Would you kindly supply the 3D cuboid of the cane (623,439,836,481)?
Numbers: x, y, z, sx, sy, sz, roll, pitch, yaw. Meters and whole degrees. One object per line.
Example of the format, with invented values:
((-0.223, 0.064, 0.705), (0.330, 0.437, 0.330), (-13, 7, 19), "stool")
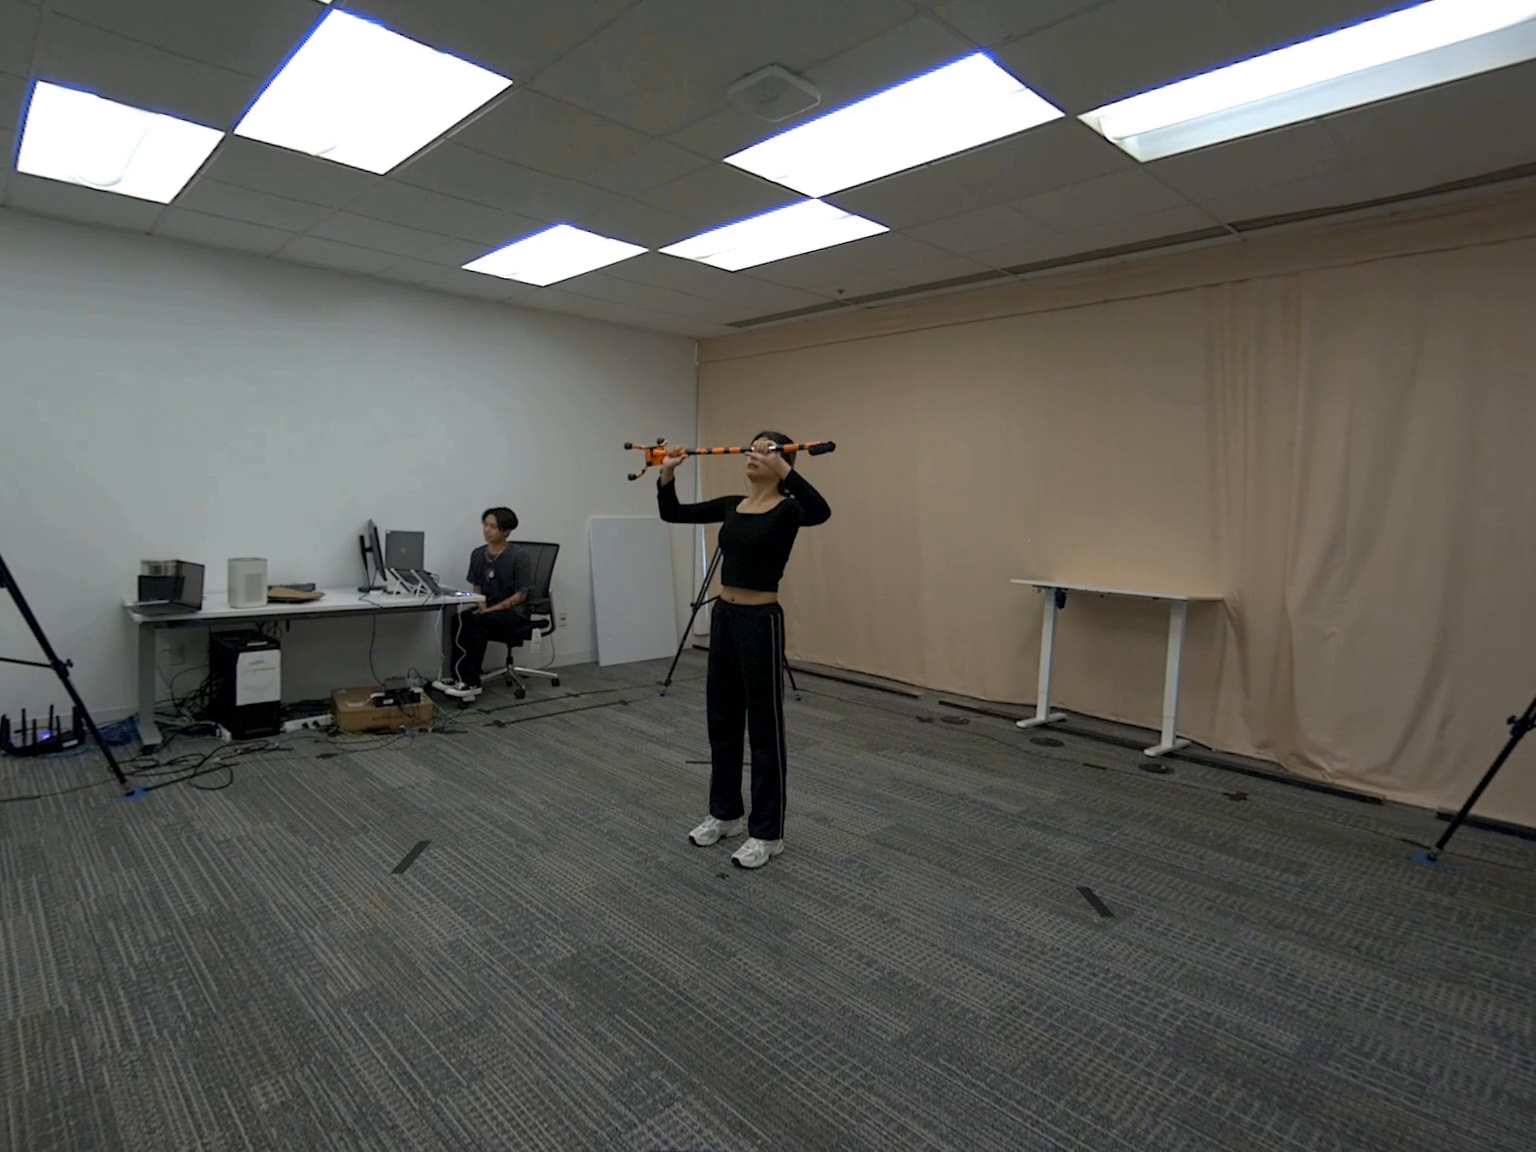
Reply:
((-0.143, -0.440, 3.057), (0.931, 0.150, 0.203), (5, 15, 41), "cane")
